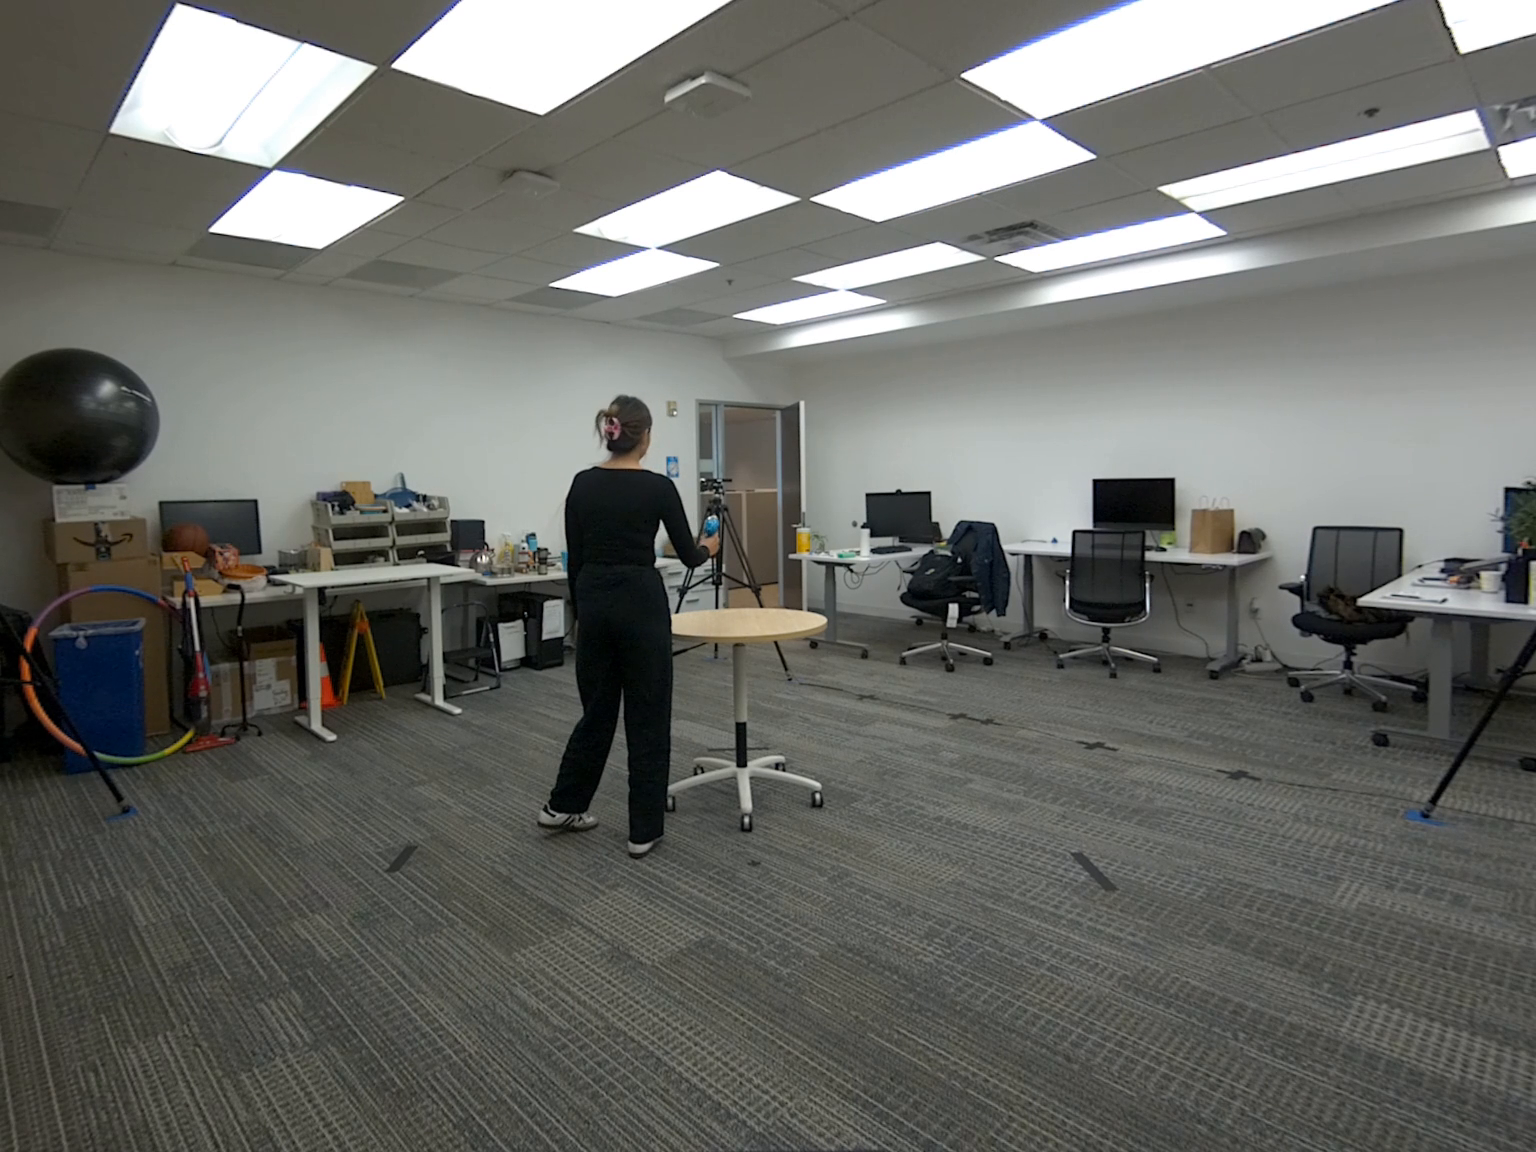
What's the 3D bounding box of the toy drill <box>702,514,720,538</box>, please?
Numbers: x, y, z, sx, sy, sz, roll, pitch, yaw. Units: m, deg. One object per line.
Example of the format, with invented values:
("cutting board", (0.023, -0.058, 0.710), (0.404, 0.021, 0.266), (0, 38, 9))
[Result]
("toy drill", (-0.239, -0.186, 3.634), (0.061, 0.143, 0.172), (1, 22, 2))
